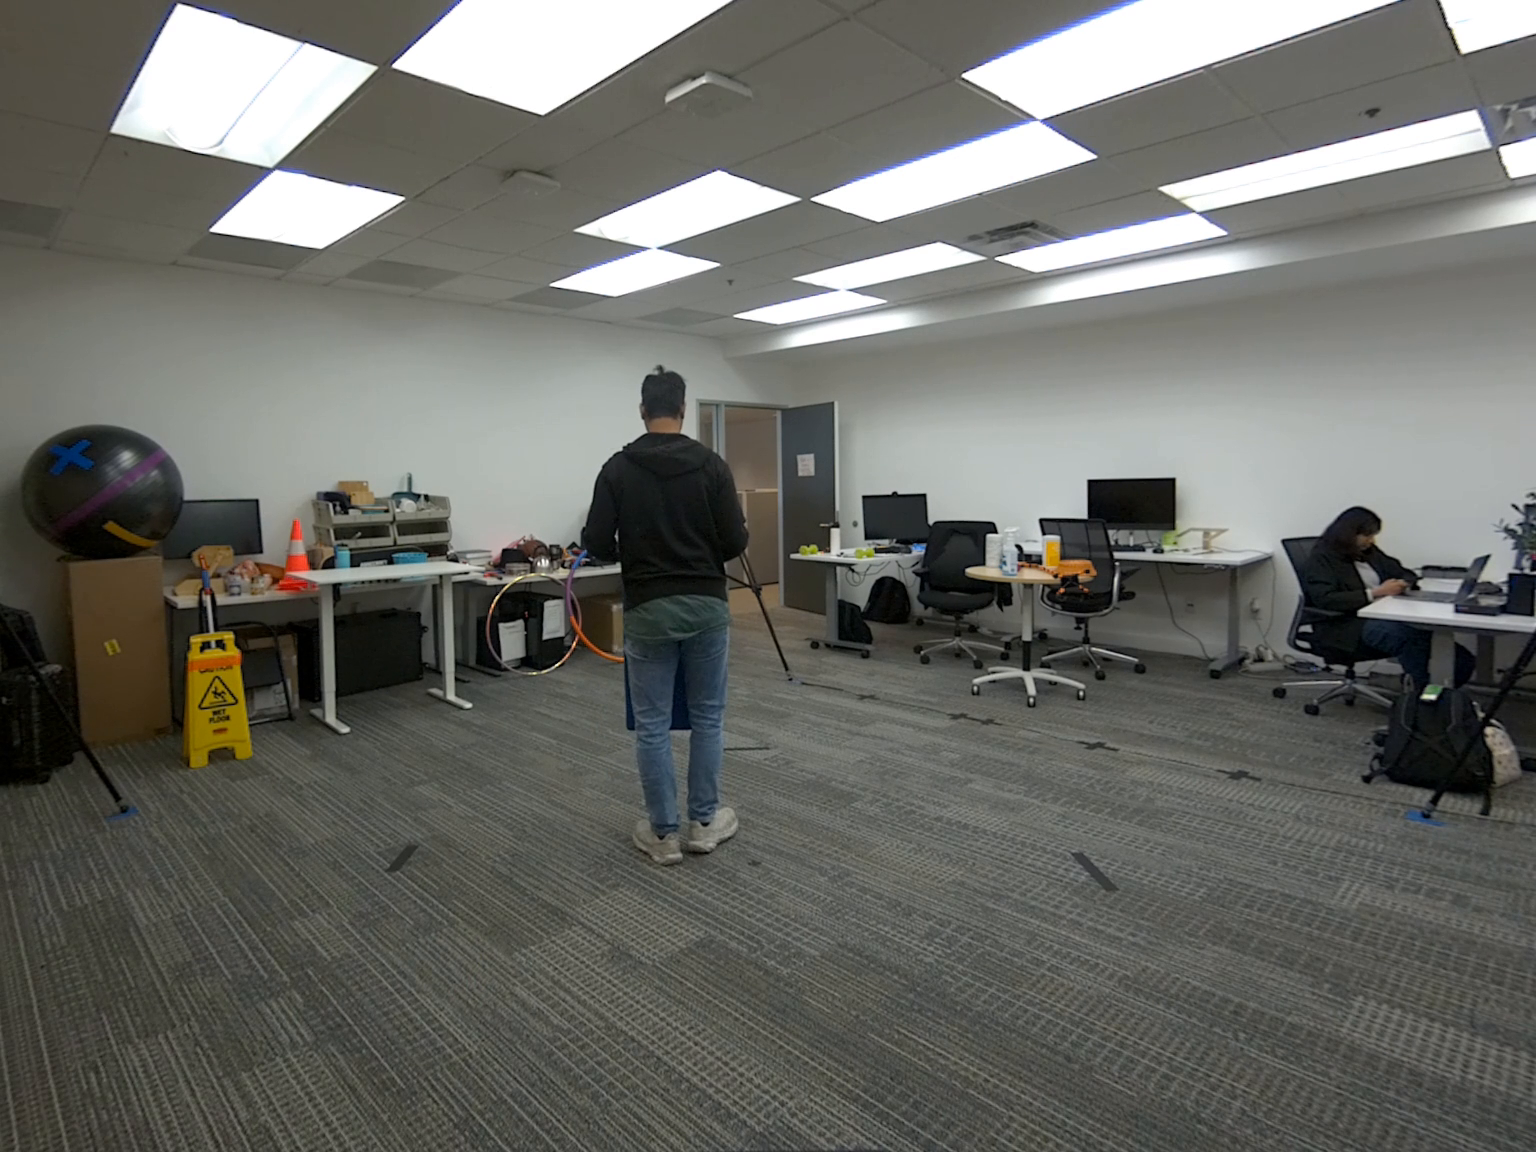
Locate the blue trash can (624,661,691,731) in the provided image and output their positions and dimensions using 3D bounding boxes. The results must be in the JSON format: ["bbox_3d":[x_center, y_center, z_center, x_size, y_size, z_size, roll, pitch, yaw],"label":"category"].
[{"bbox_3d":[-0.405,0.241,3.502,0.373,0.711,0.381,0,4,-4],"label":"blue trash can"}]
